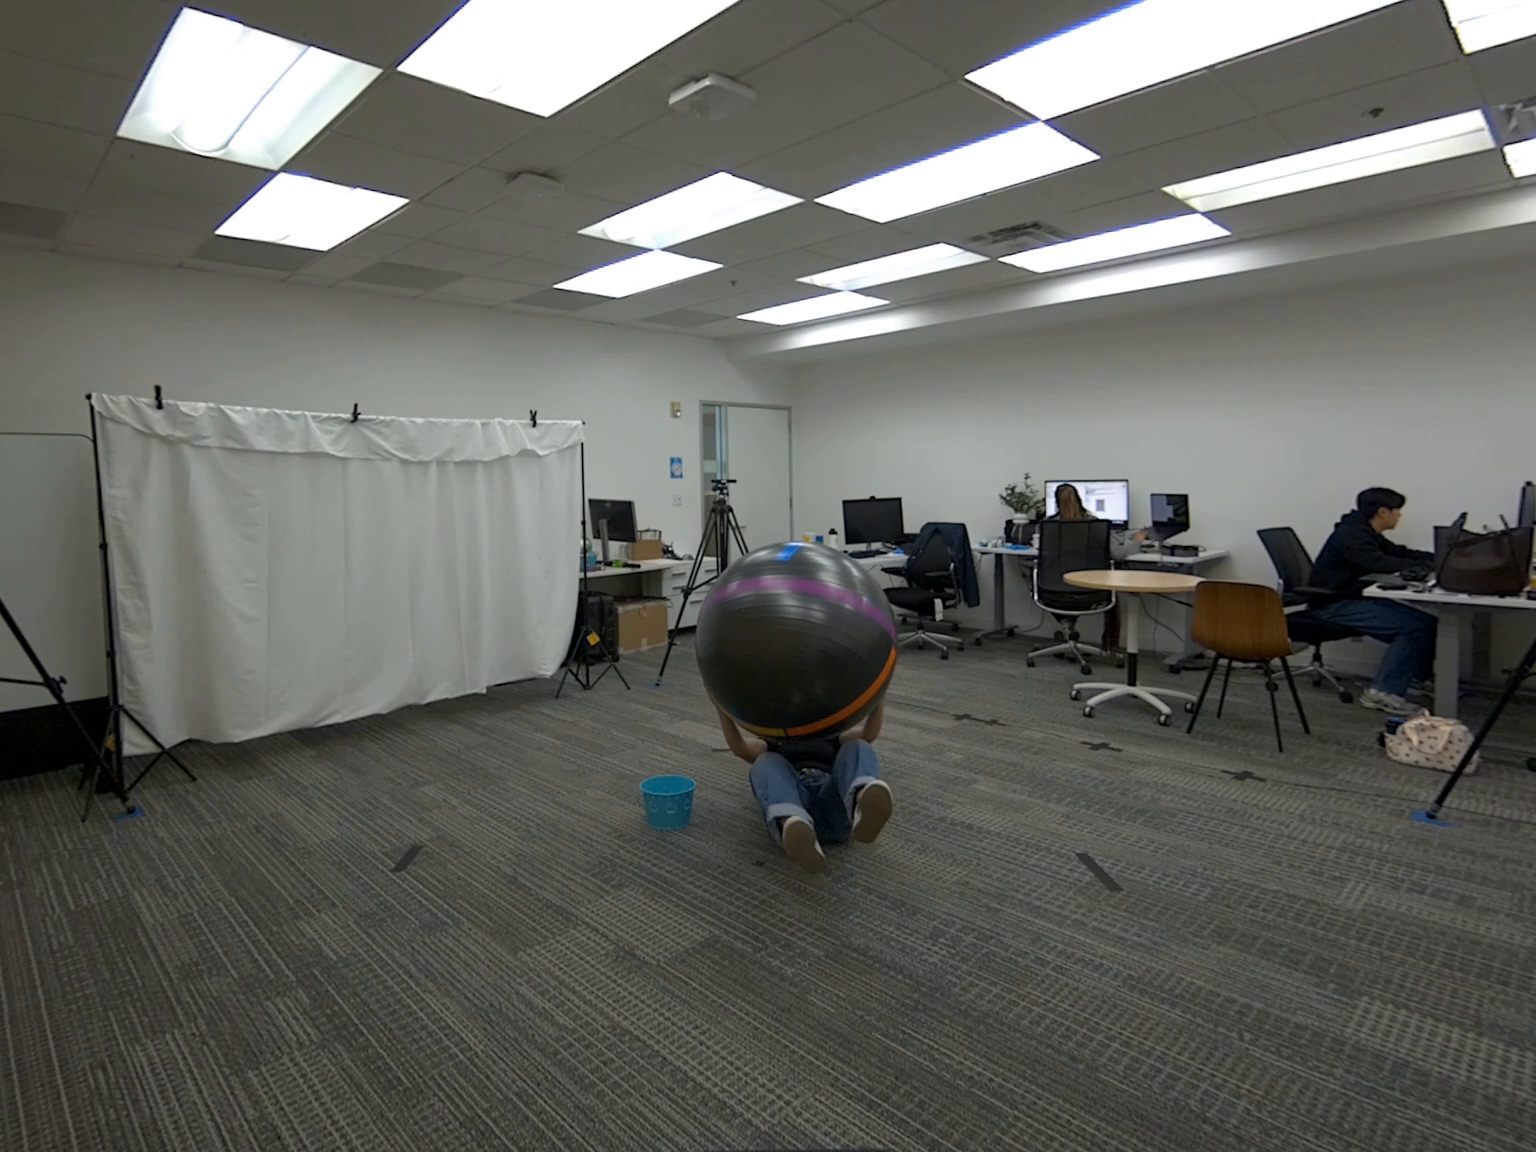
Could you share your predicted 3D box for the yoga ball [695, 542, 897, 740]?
[{"bbox_3d":[0.108,0.245,3.238,0.757,0.755,0.762,-1,5,-2],"label":"yoga ball"}]
